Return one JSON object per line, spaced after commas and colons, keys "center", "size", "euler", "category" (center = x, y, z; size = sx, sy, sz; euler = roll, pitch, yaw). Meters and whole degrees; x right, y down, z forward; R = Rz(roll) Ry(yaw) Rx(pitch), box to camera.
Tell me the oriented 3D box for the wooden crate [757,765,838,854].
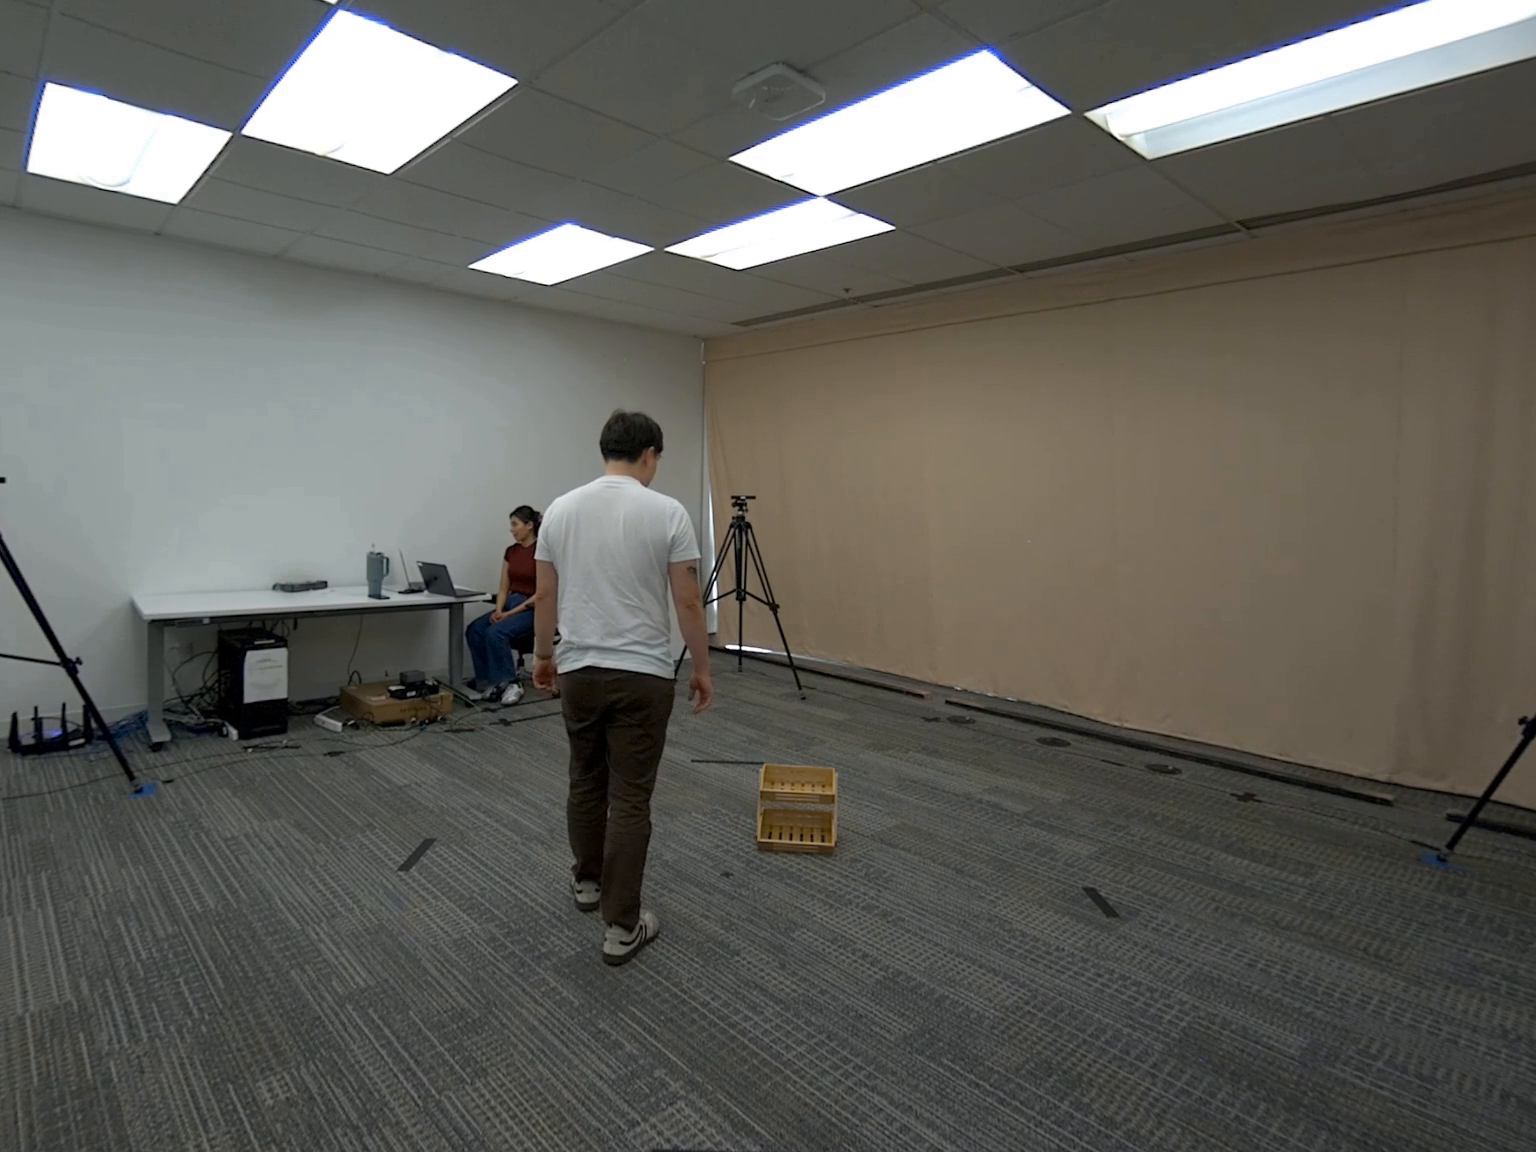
{"center": [0.113, 0.945, 3.433], "size": [0.326, 0.273, 0.301], "euler": [2, 4, 5], "category": "wooden crate"}
